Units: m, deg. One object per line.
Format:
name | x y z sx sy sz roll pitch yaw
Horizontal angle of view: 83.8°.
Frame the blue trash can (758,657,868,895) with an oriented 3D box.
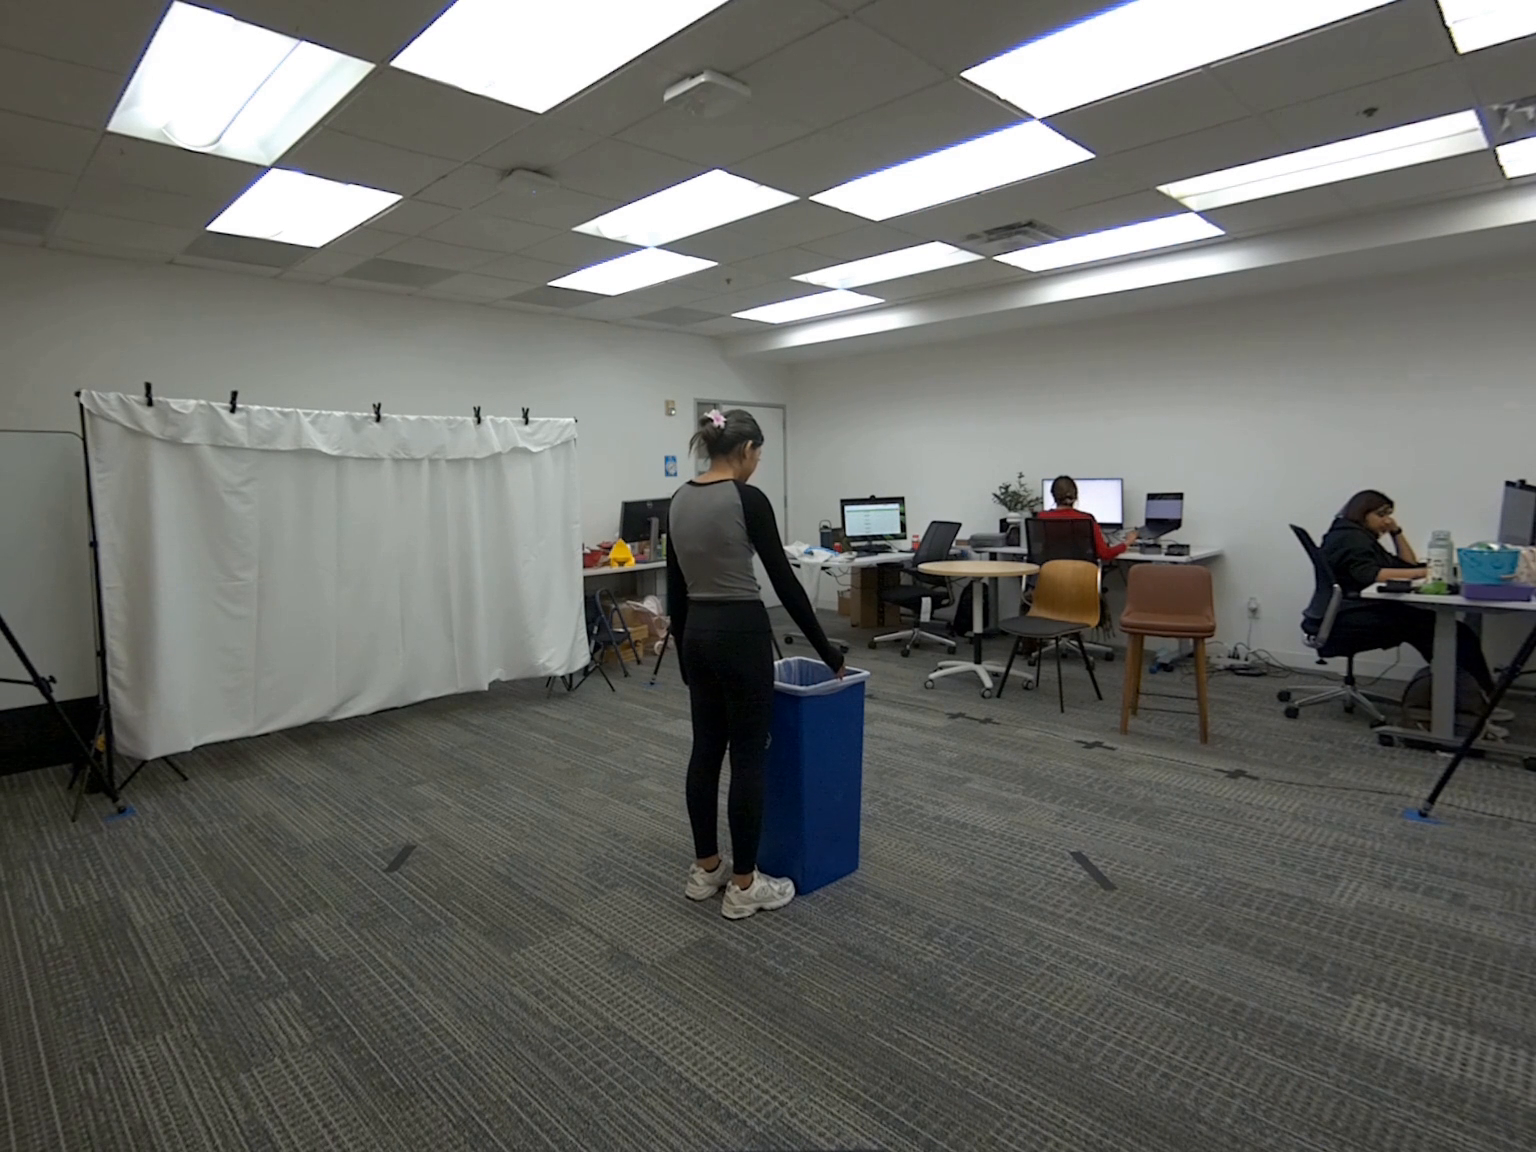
blue trash can | 0.123 0.689 3.032 0.368 0.711 0.385 -5 6 -43
